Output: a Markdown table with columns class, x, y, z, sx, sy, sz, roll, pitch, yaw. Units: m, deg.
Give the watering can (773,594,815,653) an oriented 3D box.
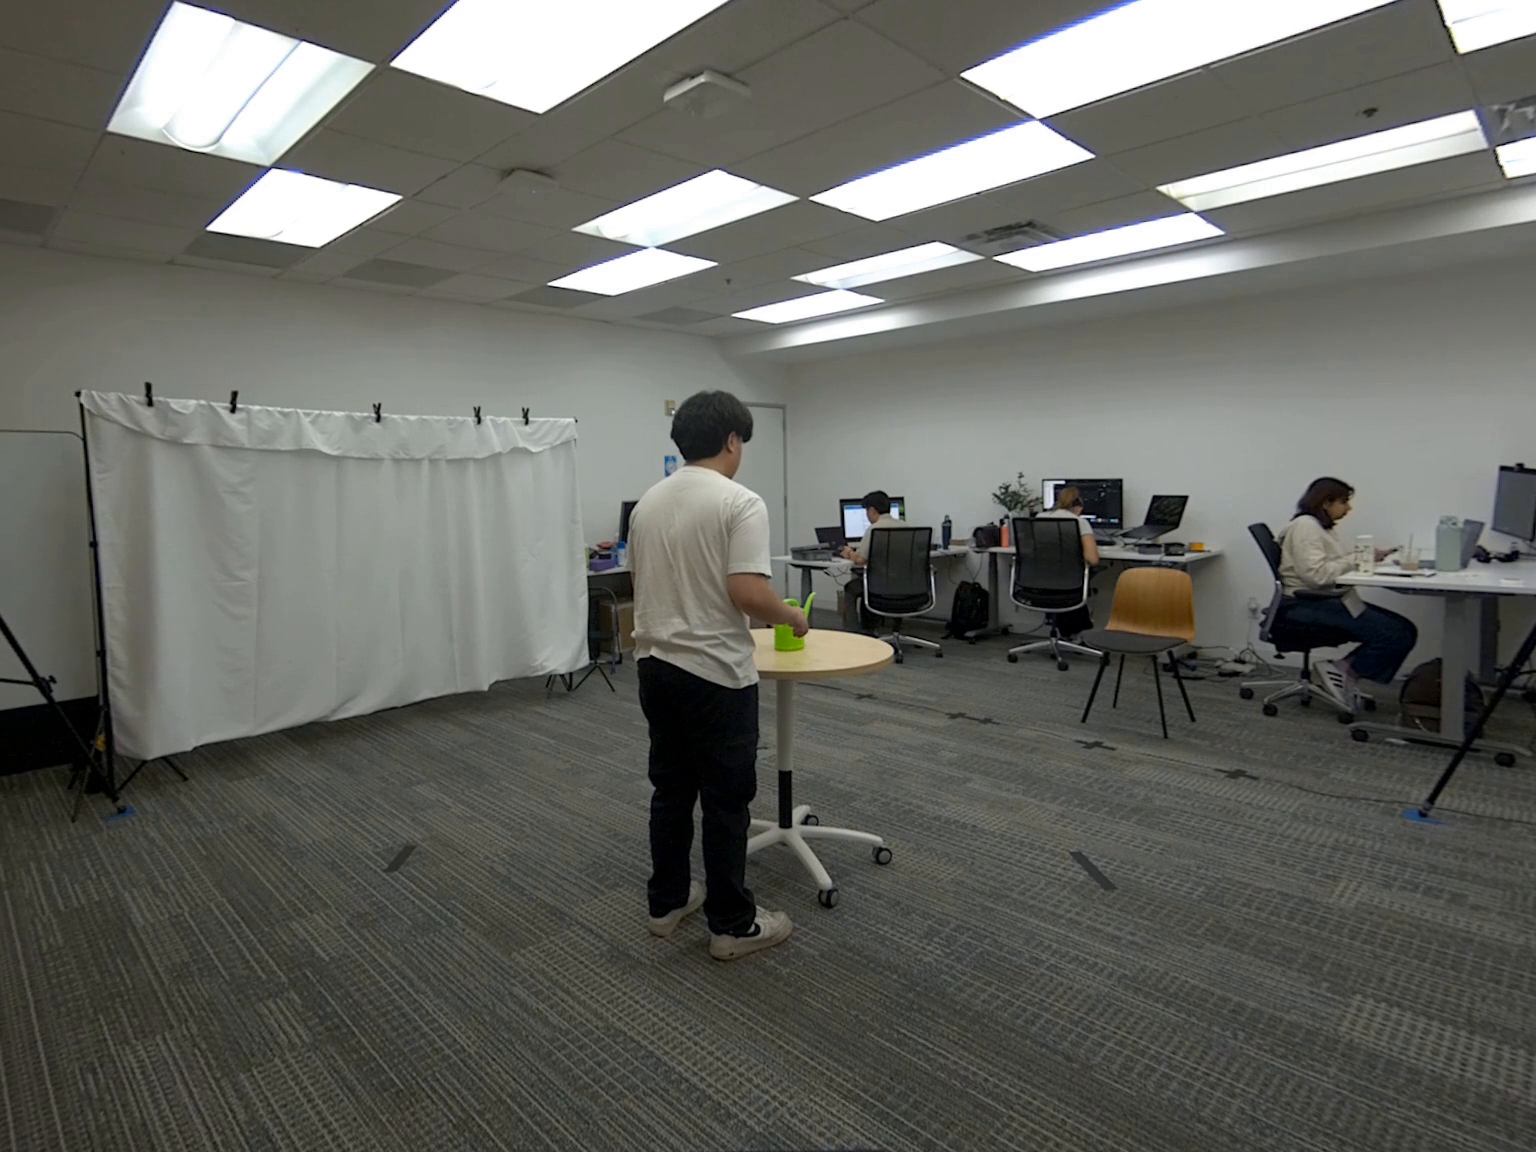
| class | x | y | z | sx | sy | sz | roll | pitch | yaw |
| --- | --- | --- | --- | --- | --- | --- | --- | --- | --- |
| watering can | 0.114 | 0.166 | 3.056 | 0.101 | 0.176 | 0.271 | 4 | 9 | 44 |
